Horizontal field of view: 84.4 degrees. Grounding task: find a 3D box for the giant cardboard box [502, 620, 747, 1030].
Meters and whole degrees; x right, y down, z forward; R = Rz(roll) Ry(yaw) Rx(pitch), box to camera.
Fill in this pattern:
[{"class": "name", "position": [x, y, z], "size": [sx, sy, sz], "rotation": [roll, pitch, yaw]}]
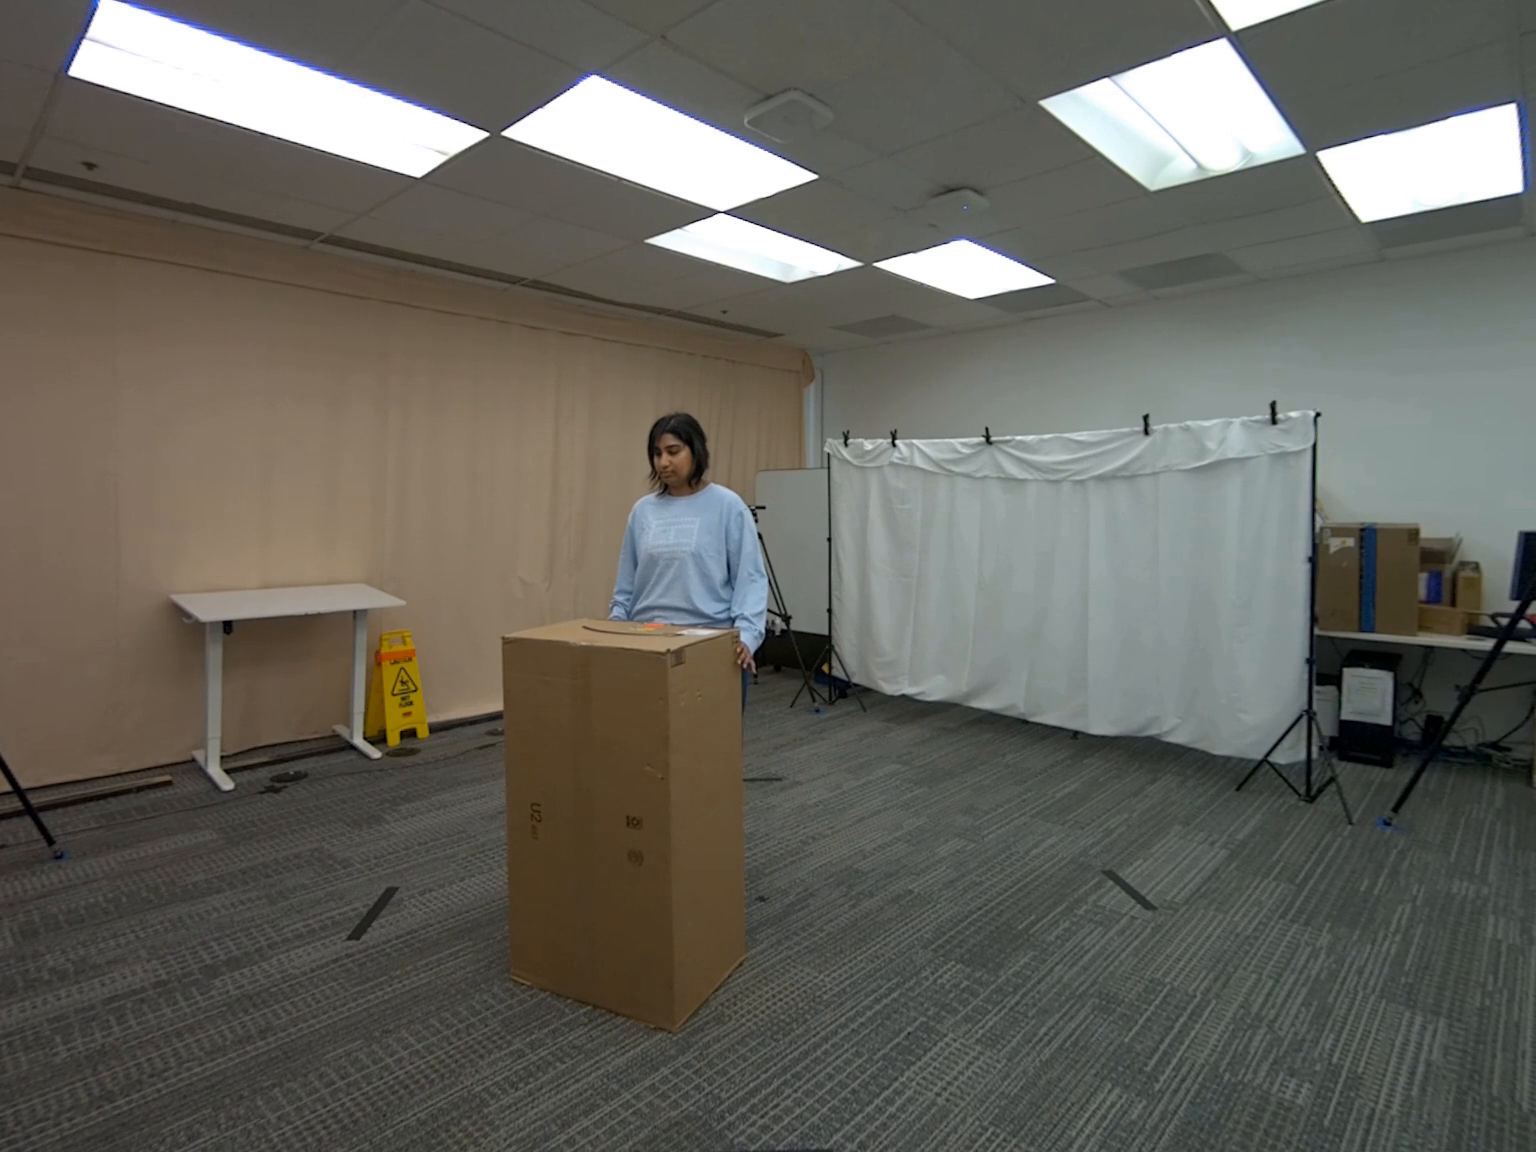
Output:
[{"class": "giant cardboard box", "position": [-0.424, 0.676, 2.514], "size": [0.600, 1.025, 0.435], "rotation": [1, 3, 29]}]
